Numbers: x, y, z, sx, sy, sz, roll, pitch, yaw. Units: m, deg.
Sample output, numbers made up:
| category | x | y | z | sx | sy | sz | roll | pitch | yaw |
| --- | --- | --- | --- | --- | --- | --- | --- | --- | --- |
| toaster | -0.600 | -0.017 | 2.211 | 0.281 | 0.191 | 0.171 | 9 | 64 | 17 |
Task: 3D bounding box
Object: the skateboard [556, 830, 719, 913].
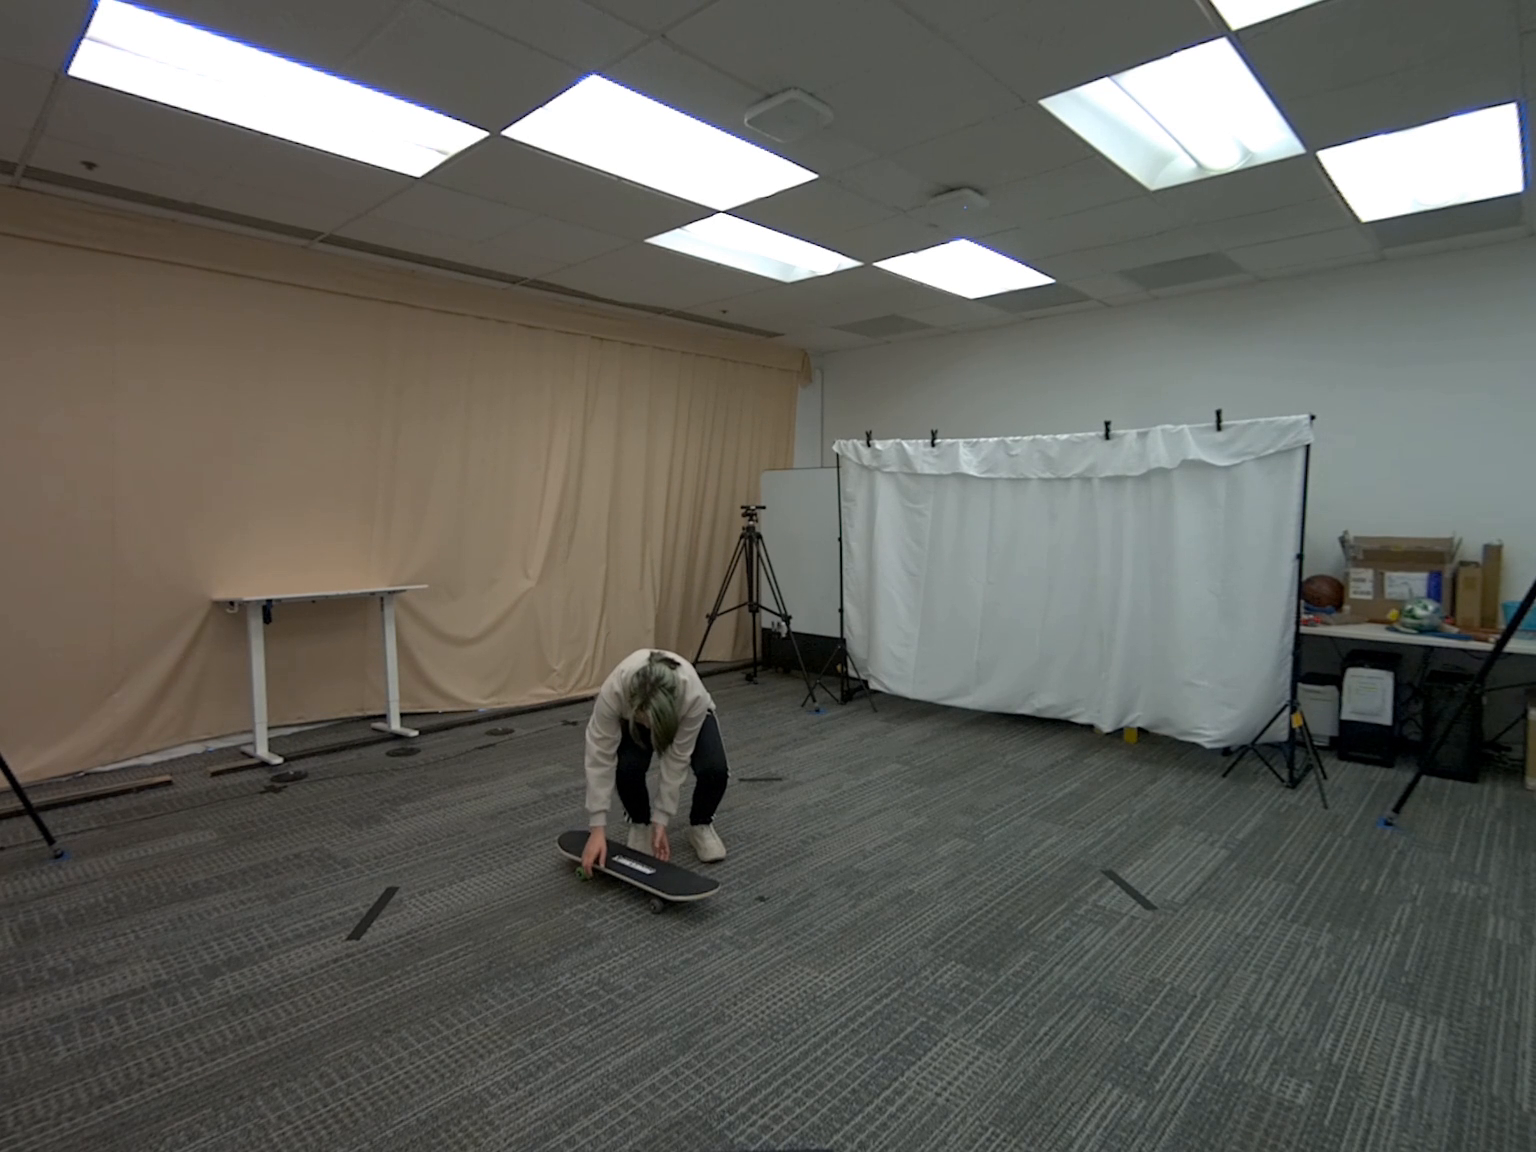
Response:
| category | x | y | z | sx | sy | sz | roll | pitch | yaw |
| --- | --- | --- | --- | --- | --- | --- | --- | --- | --- |
| skateboard | -0.488 | 1.076 | 3.076 | 0.811 | 0.110 | 0.188 | 4 | 7 | 41 |
